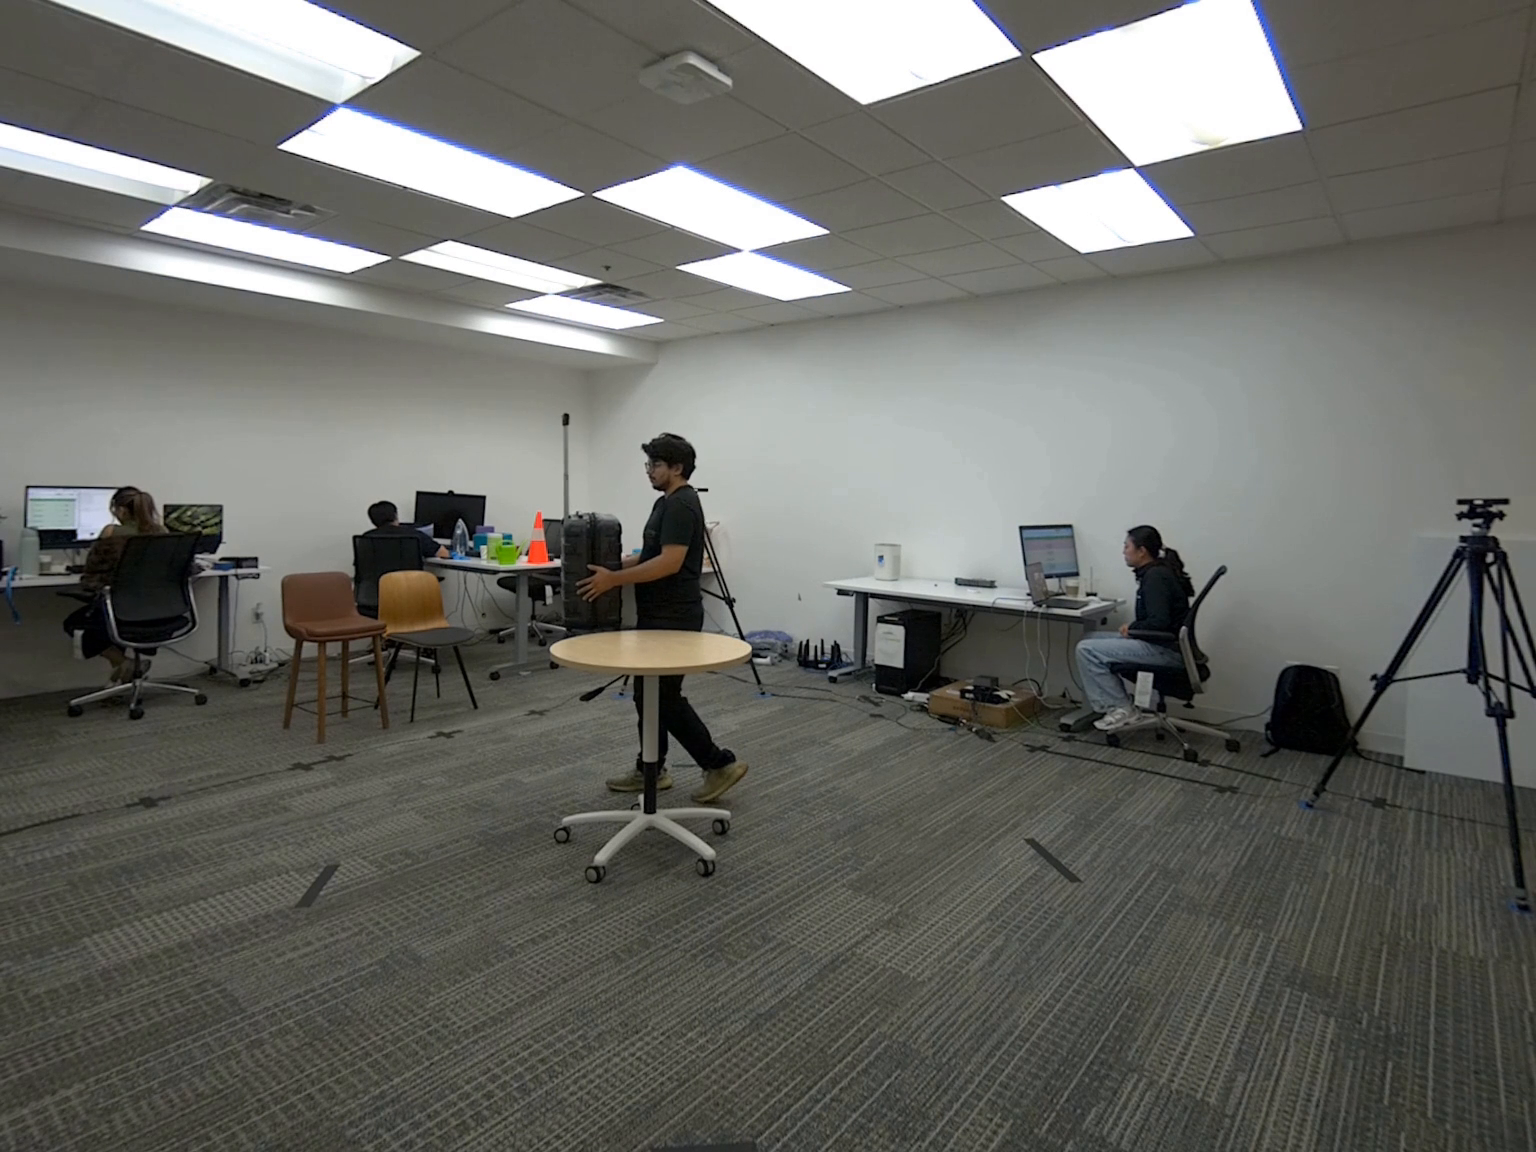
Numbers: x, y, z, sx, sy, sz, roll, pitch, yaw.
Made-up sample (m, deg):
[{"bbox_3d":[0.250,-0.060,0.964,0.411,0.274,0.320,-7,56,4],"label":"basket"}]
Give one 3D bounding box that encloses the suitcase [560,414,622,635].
[{"bbox_3d":[-0.795,-0.225,3.794,0.255,0.974,0.389,1,6,-8],"label":"suitcase"}]
